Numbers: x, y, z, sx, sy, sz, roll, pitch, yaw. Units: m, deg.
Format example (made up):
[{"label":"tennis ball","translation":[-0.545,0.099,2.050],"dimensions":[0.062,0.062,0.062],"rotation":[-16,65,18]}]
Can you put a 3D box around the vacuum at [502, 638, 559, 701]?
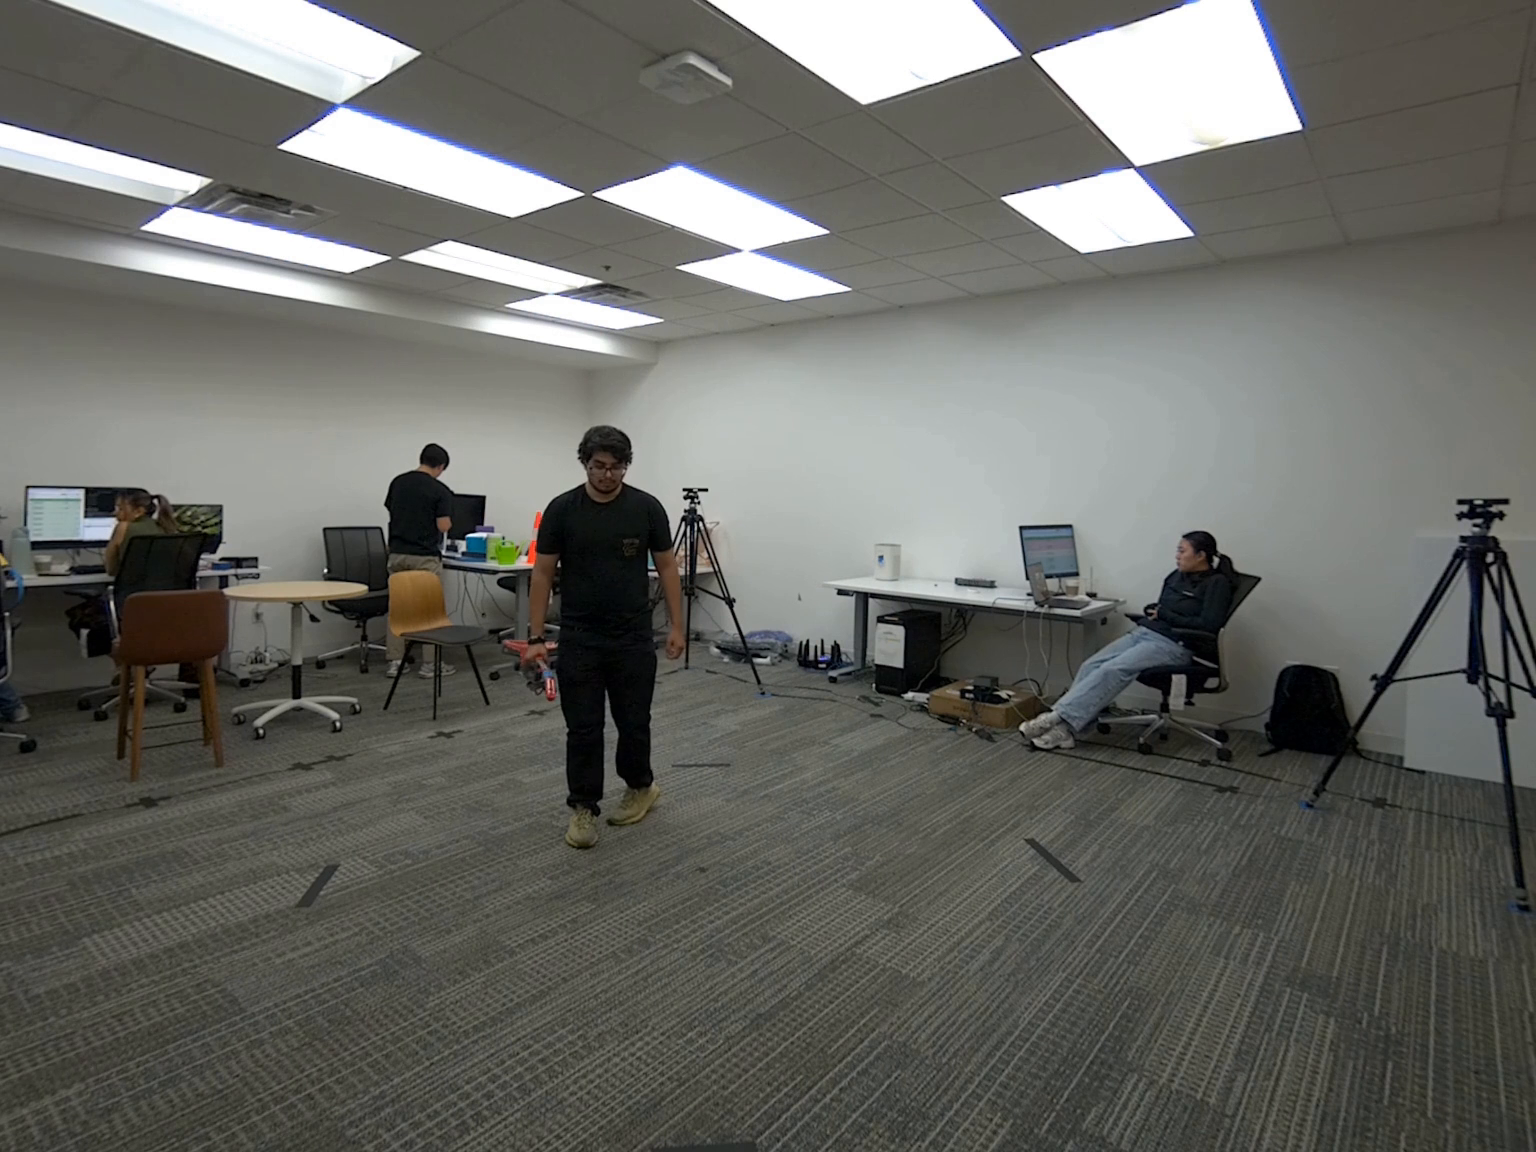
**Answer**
[{"label":"vacuum","translation":[-0.870,0.371,3.200],"dimensions":[0.248,0.144,1.070],"rotation":[4,2,-19]}]
